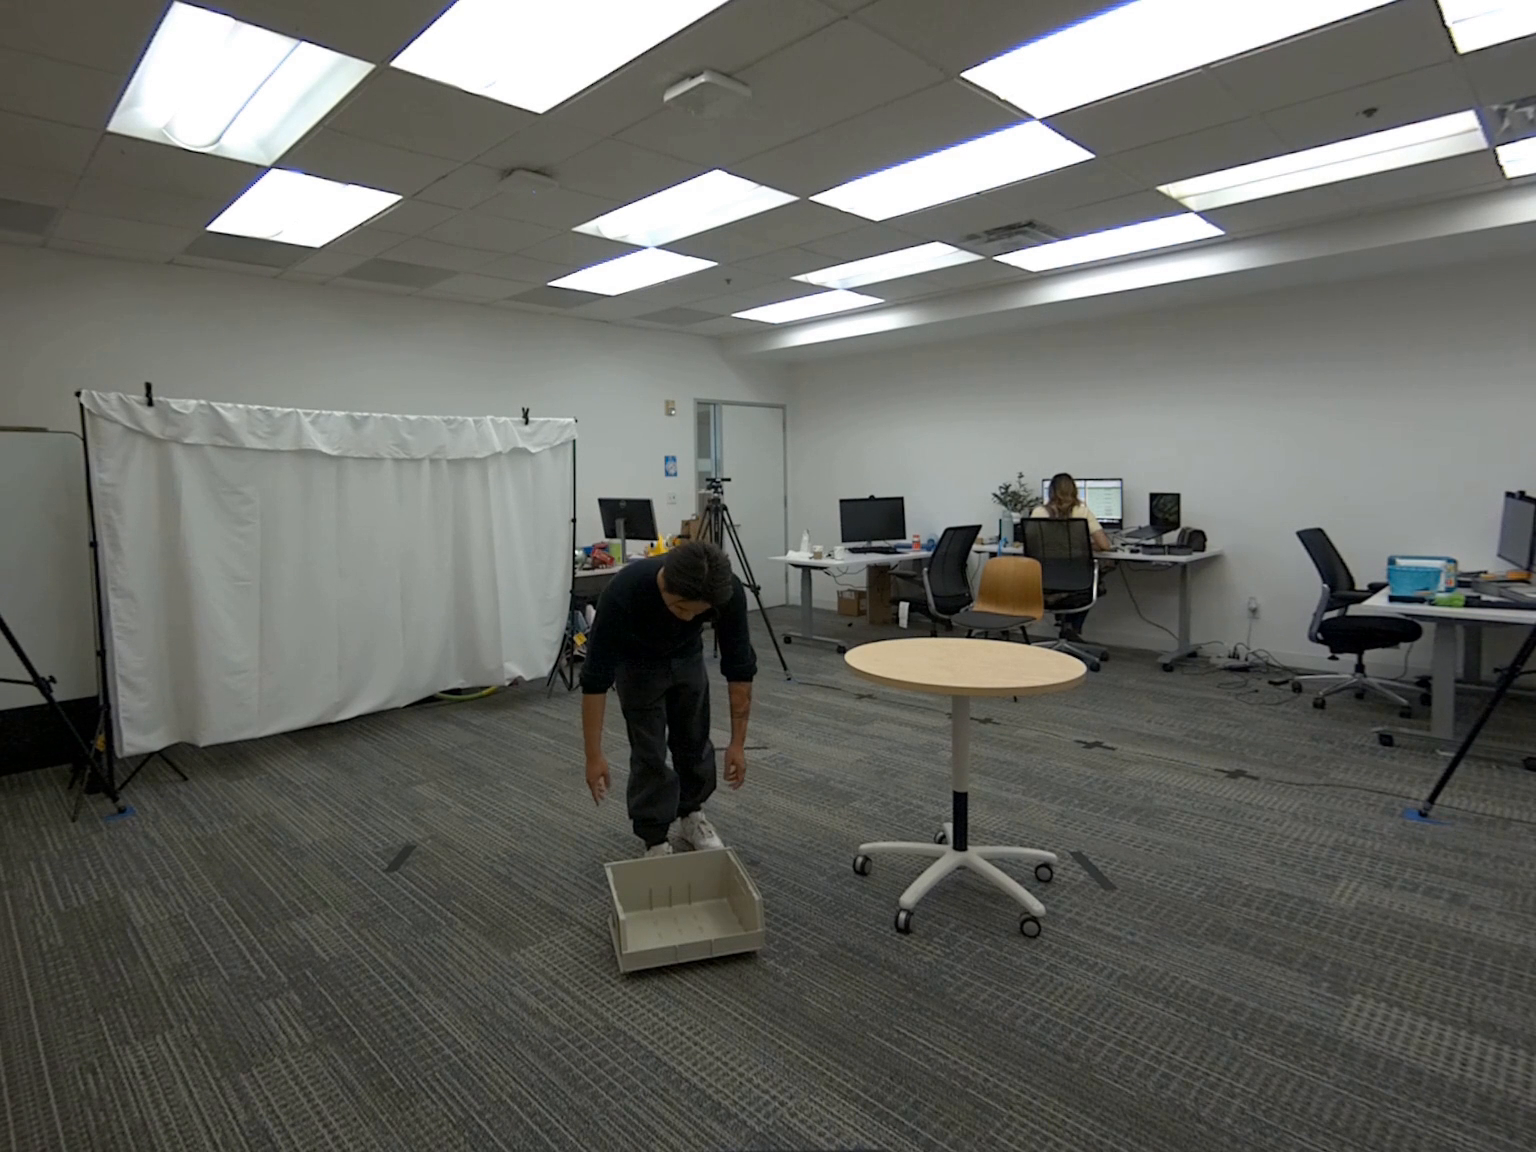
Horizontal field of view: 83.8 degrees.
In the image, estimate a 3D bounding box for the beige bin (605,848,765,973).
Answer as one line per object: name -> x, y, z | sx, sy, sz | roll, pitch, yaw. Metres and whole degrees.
beige bin -> -0.262, 1.015, 2.598 | 0.416, 0.188, 0.384 | -3, 5, -16
